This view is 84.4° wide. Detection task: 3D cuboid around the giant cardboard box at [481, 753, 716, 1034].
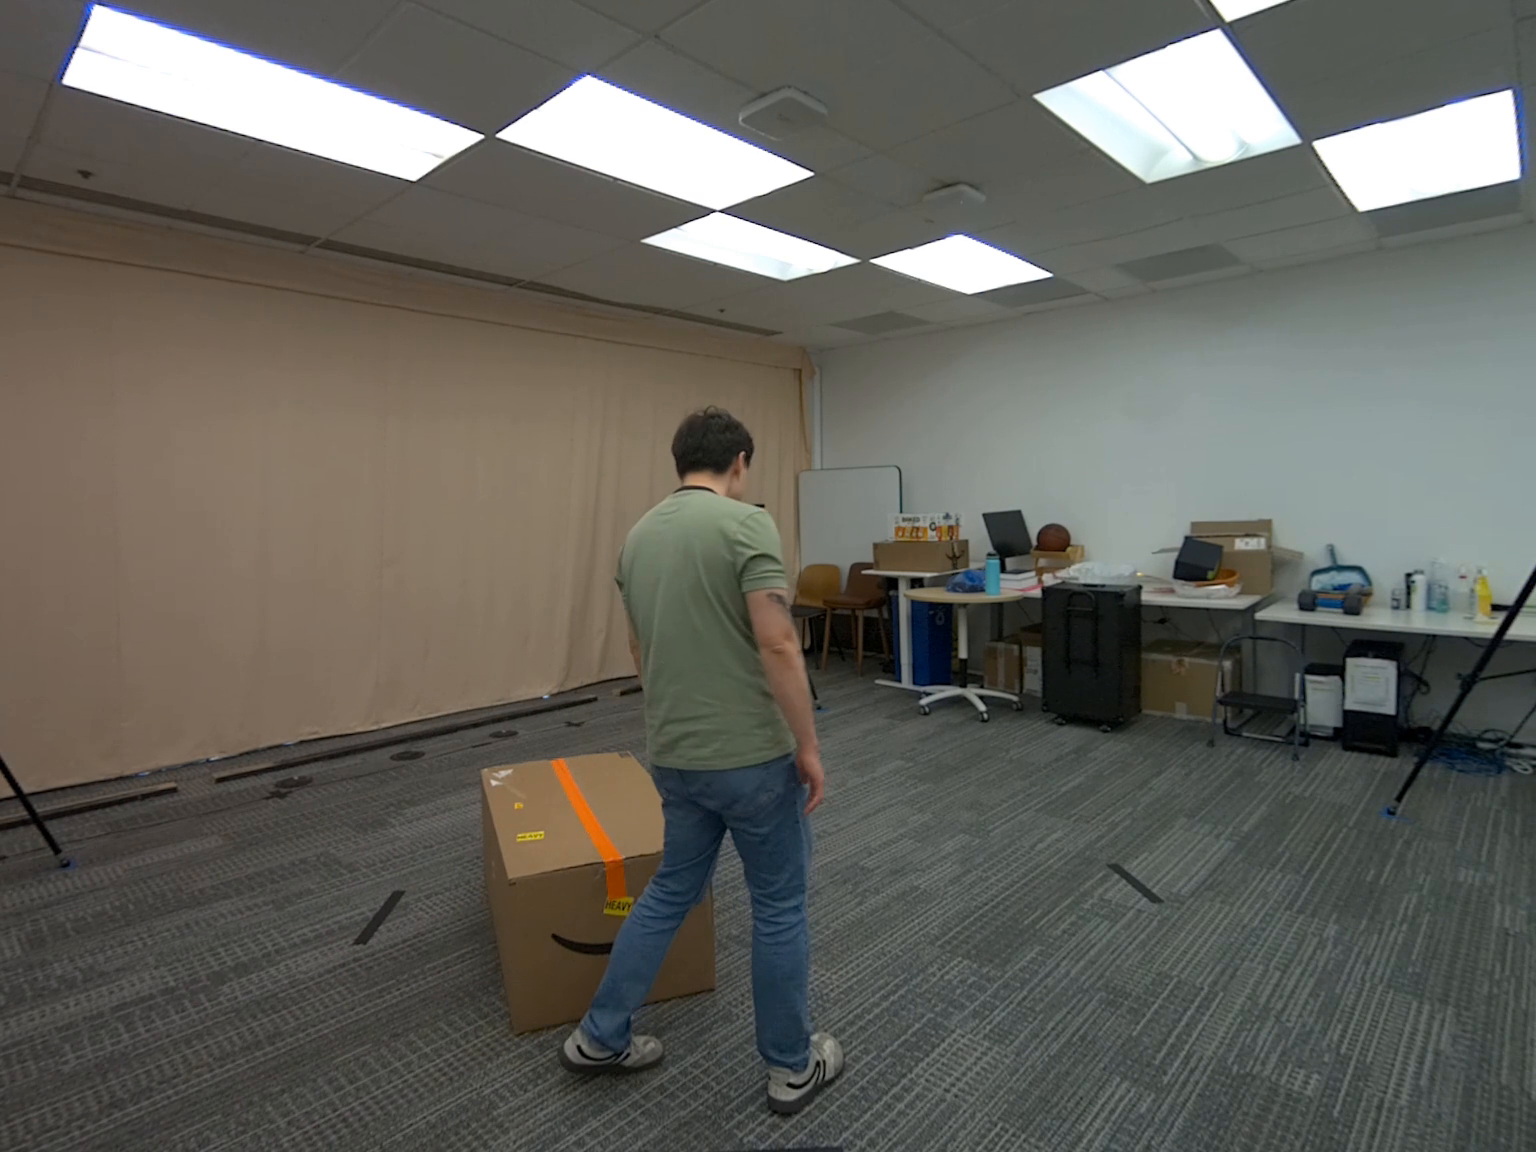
[{"bbox_3d":[-0.610,0.952,2.791,0.565,0.425,1.050,-4,5,-22],"label":"giant cardboard box"}]
